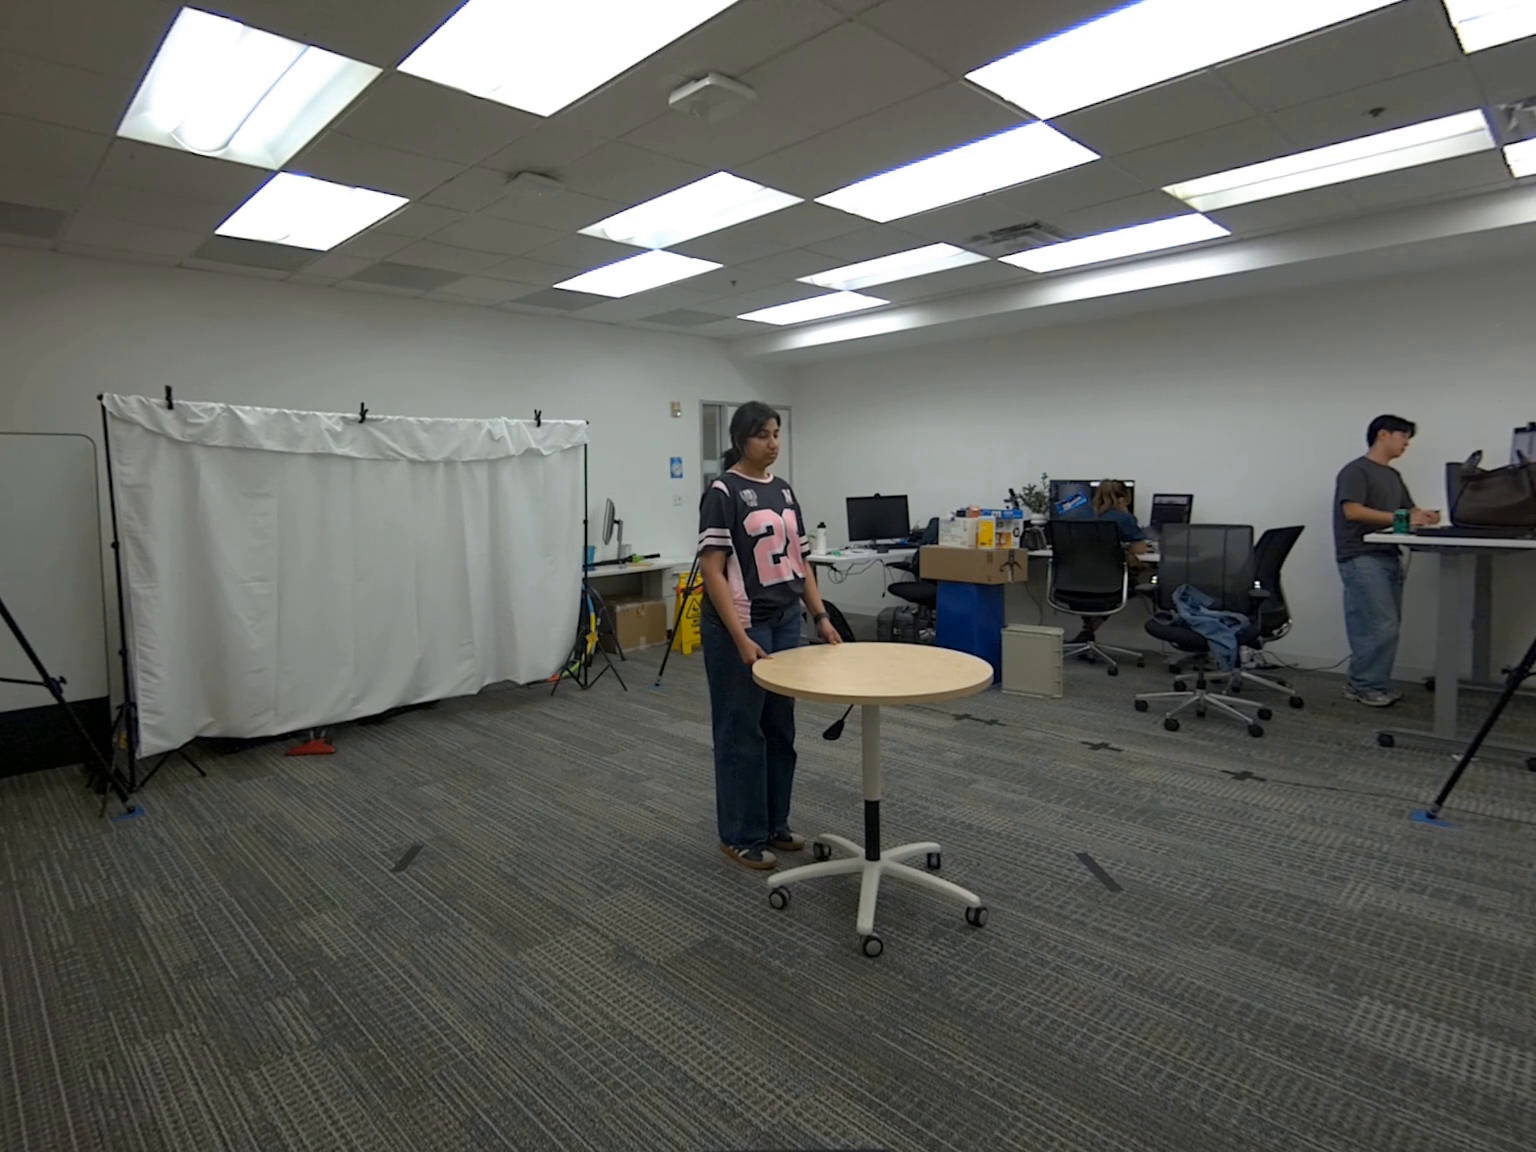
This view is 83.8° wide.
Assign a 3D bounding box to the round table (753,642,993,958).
[{"bbox_3d":[0.346,0.678,2.815,0.784,0.783,0.789,-1,5,-2],"label":"round table"}]
